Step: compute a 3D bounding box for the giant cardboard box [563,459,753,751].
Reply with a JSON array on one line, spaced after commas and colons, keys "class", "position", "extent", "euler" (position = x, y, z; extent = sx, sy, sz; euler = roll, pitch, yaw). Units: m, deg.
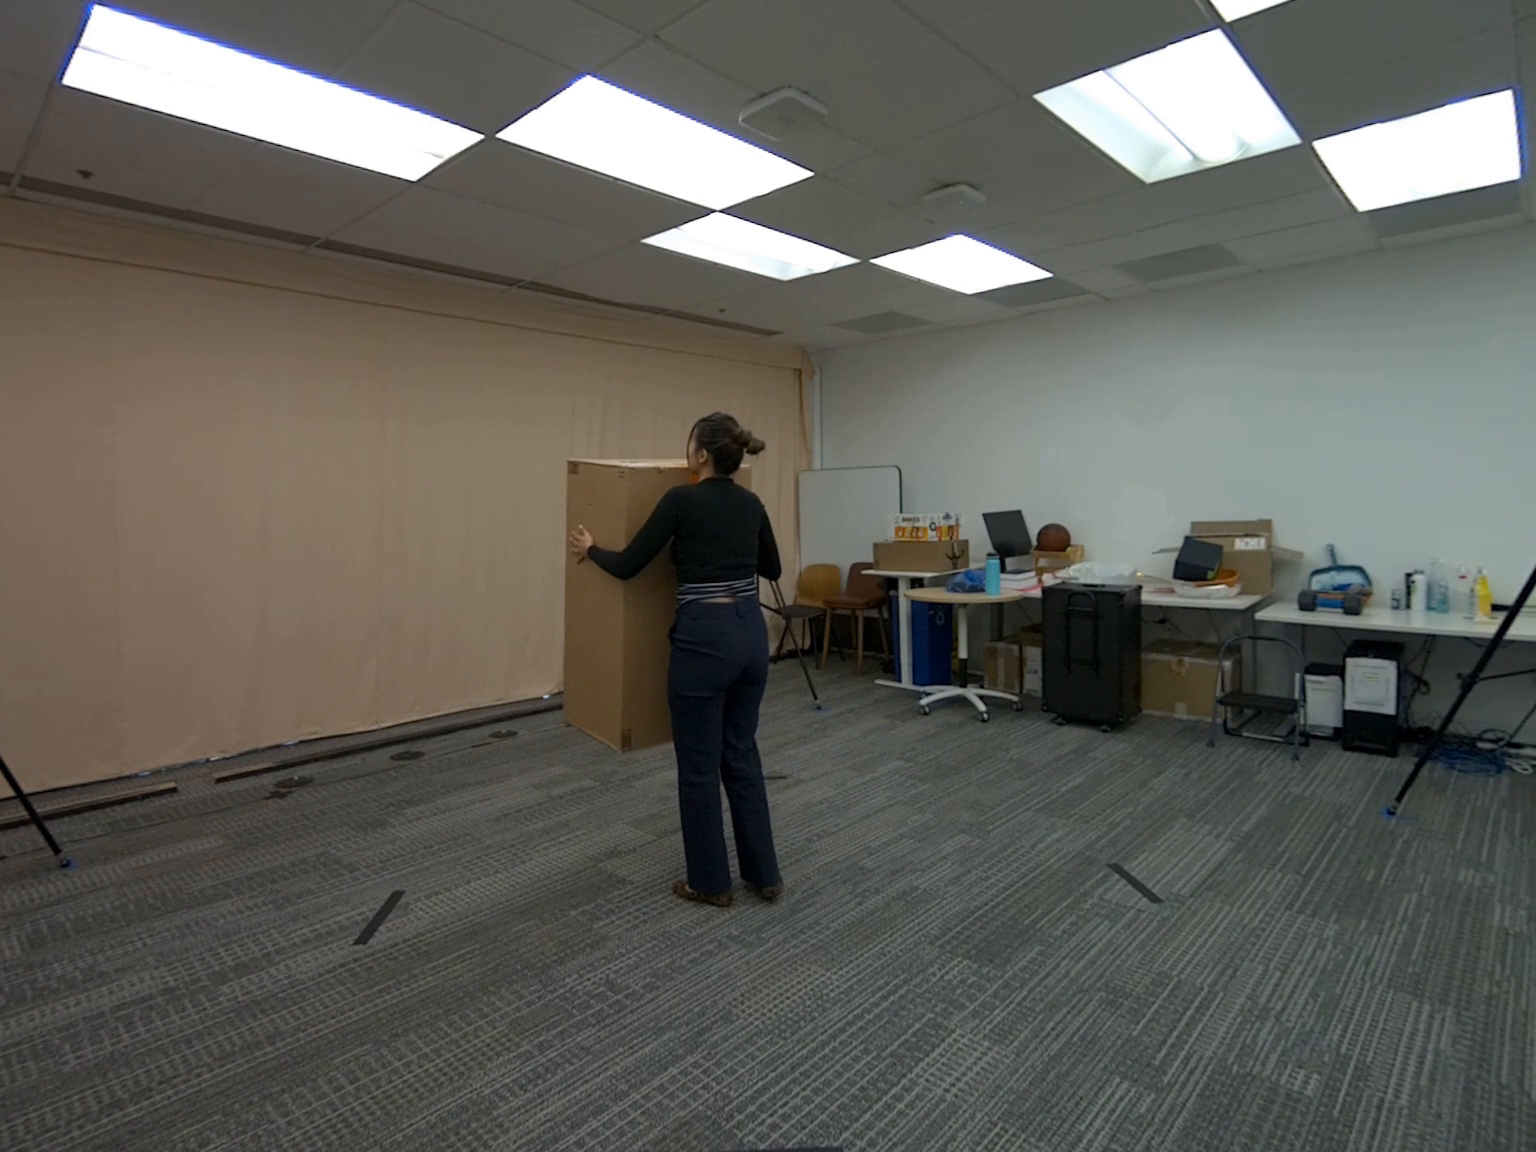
[{"class": "giant cardboard box", "position": [-0.429, 0.076, 3.259], "extent": [0.560, 1.021, 0.441], "euler": [-5, 11, -40]}]
